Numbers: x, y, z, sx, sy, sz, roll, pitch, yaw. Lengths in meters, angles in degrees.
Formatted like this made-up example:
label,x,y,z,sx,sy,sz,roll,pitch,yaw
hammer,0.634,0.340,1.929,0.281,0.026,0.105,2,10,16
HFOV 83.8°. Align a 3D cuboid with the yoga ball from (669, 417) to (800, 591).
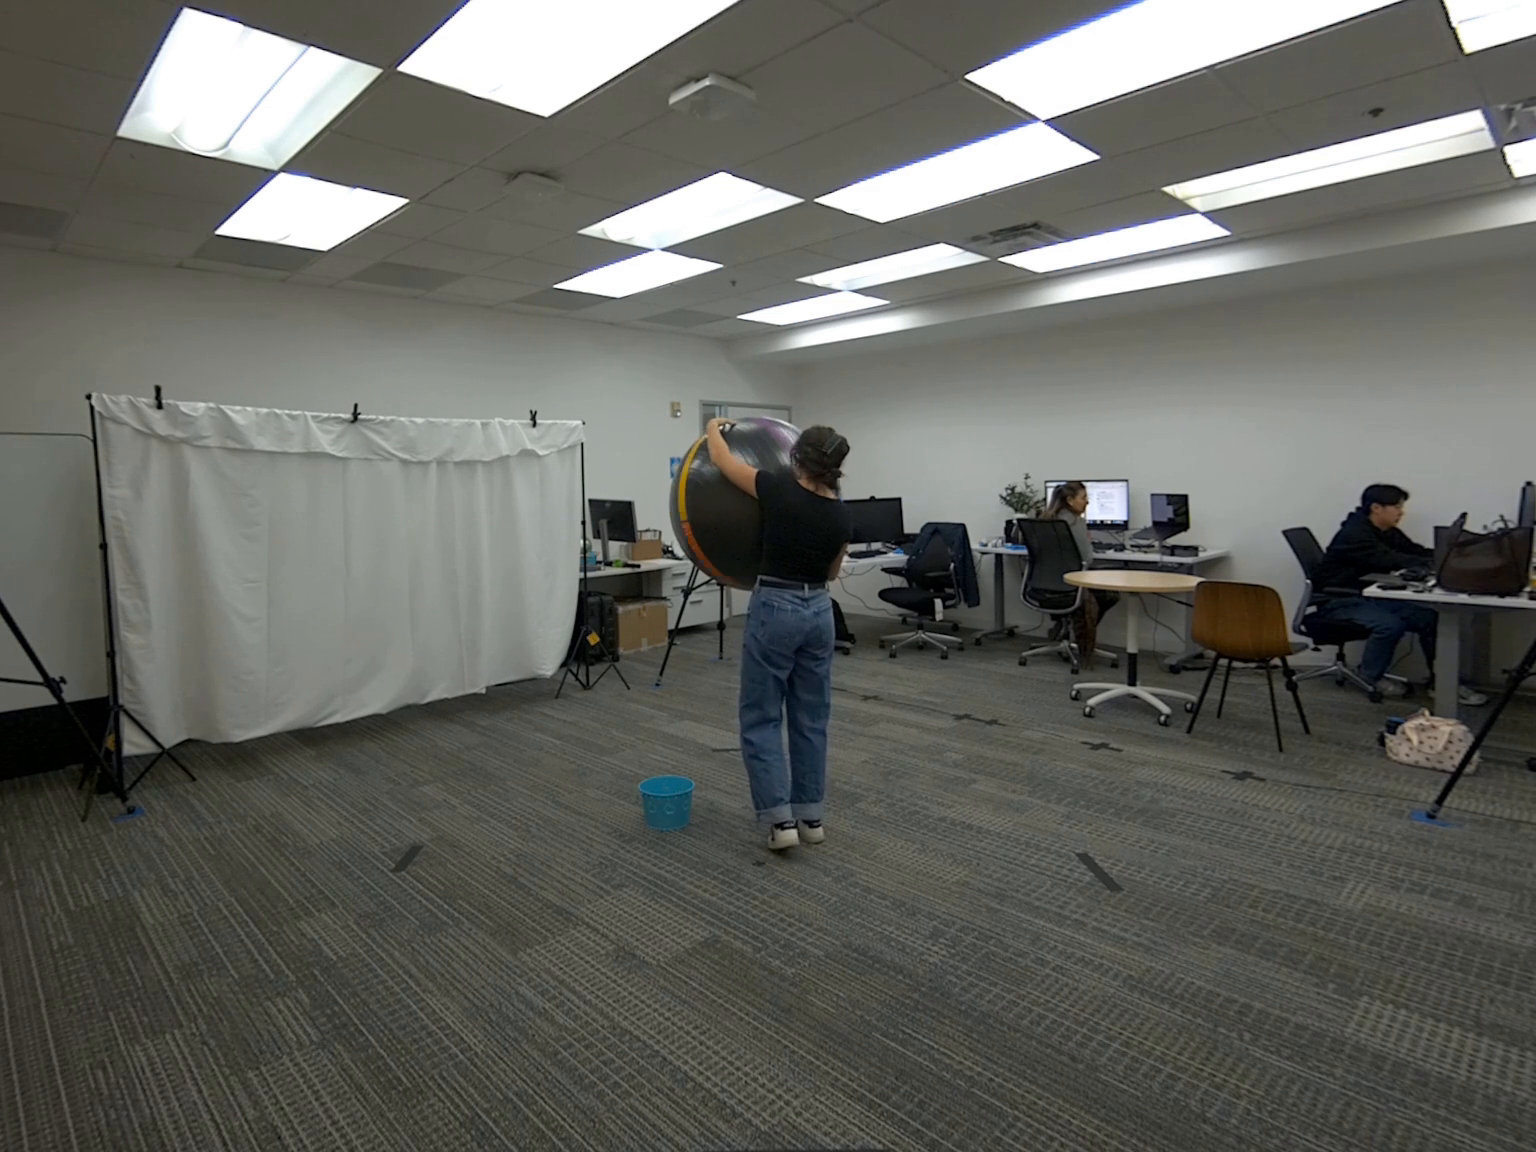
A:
label,x,y,z,sx,sy,sz,roll,pitch,yaw
yoga ball,-0.059,-0.321,3.756,0.757,0.755,0.762,-1,5,-2
